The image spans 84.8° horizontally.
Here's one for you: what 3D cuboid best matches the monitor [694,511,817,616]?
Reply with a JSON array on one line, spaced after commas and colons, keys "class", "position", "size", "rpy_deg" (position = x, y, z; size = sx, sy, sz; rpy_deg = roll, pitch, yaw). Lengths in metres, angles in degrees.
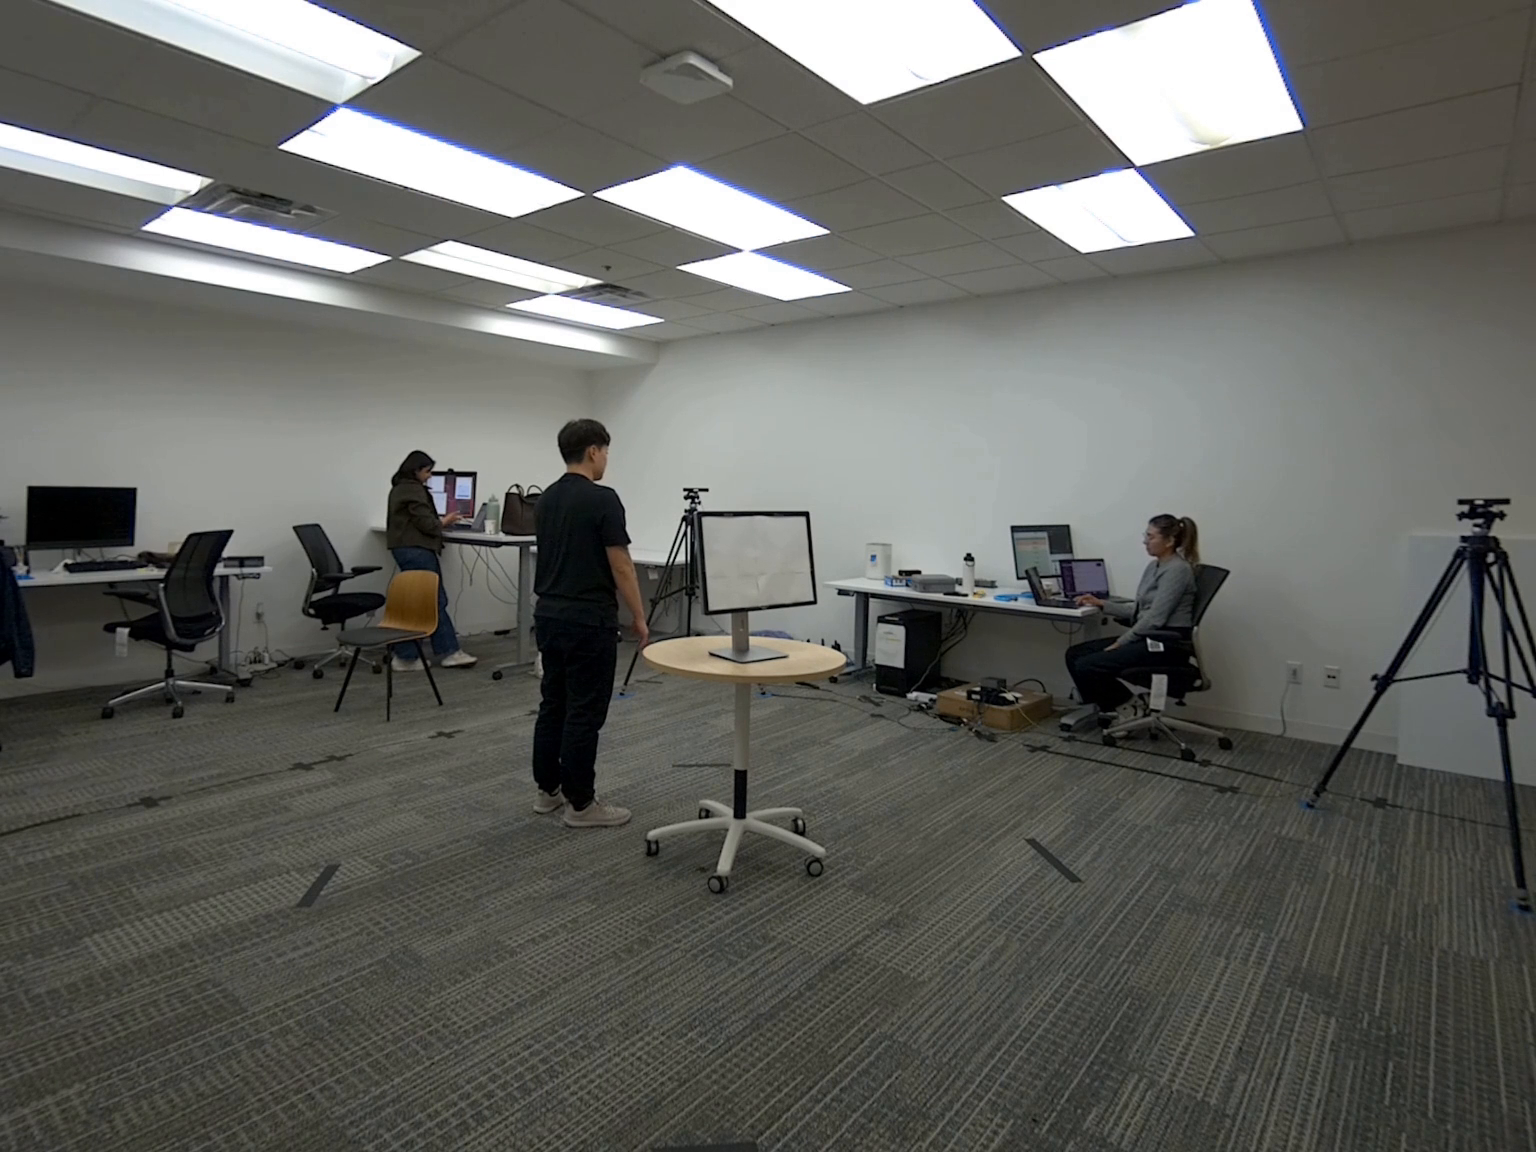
[{"class": "monitor", "position": [-0.071, 0.033, 3.164], "size": [0.523, 0.520, 0.194], "rpy_deg": [-3, 7, -43]}]
